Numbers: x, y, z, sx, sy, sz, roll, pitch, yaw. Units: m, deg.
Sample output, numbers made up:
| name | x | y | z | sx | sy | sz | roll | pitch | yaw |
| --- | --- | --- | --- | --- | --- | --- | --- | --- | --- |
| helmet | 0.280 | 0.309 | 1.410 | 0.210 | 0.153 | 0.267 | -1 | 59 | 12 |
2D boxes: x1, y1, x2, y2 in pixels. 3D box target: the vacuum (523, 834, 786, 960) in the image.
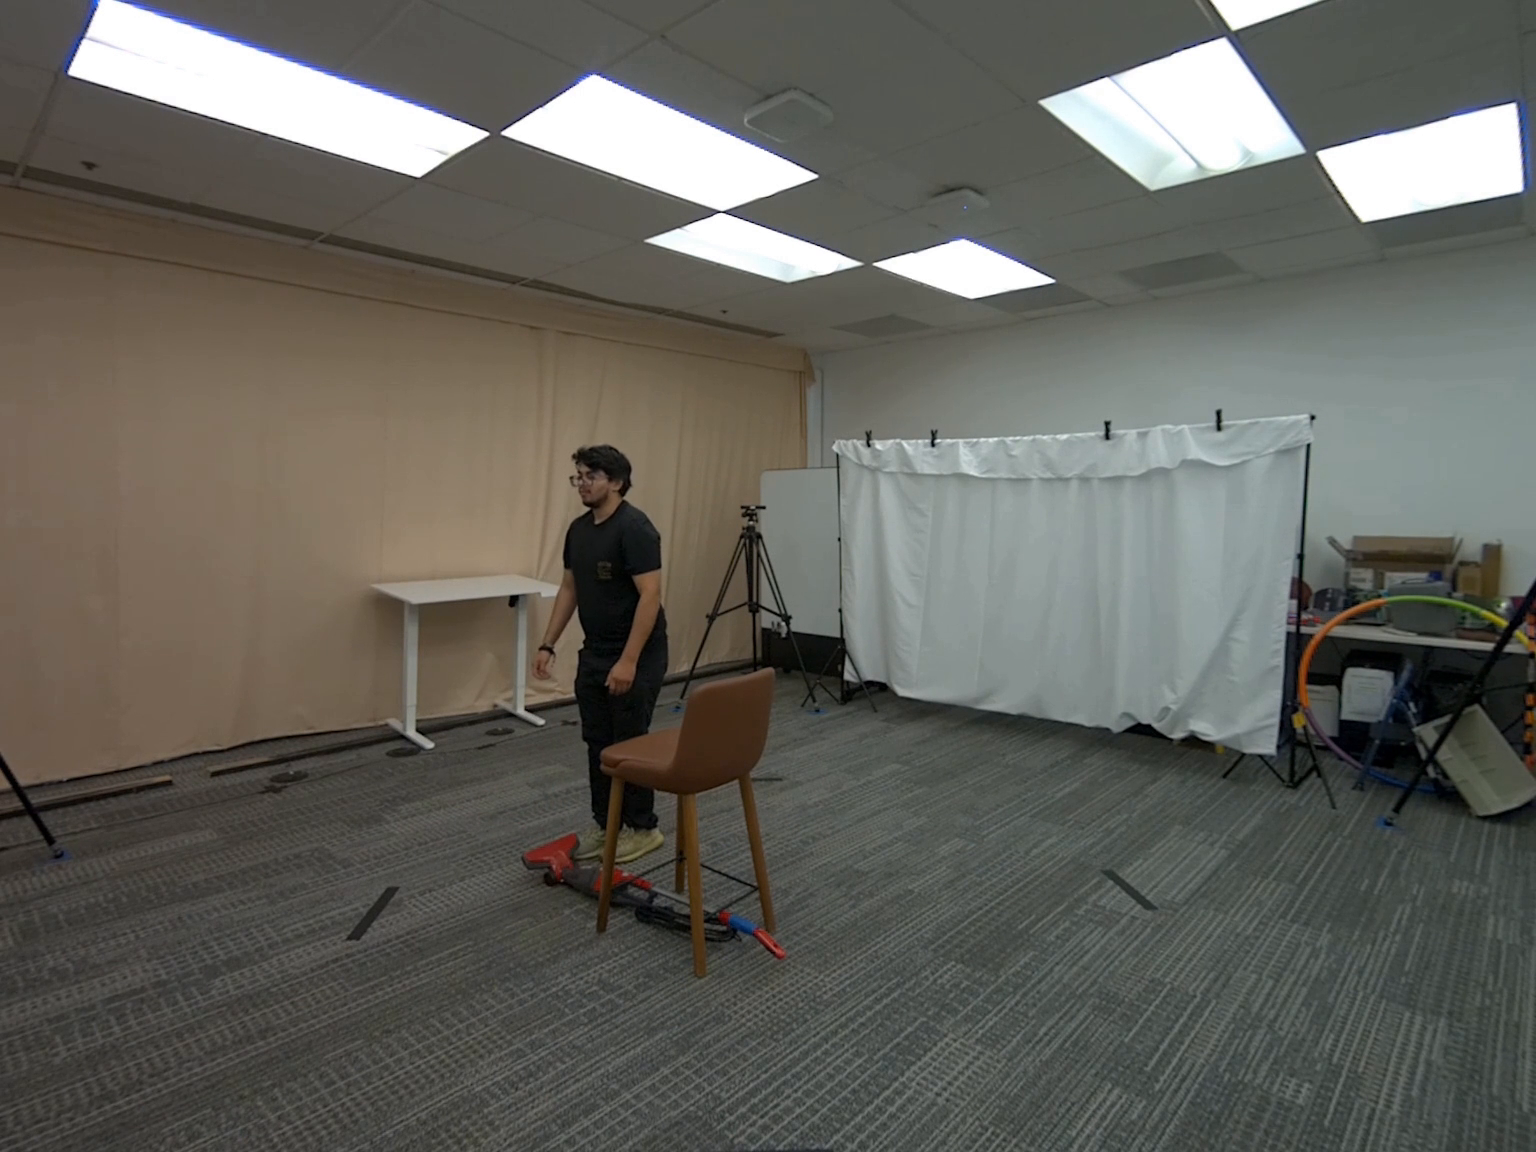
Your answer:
| name | x | y | z | sx | sy | sz | roll | pitch | yaw |
| --- | --- | --- | --- | --- | --- | --- | --- | --- | --- |
| vacuum | -0.387 | 1.105 | 2.822 | 1.084 | 0.143 | 0.245 | 4 | 7 | 39 |
